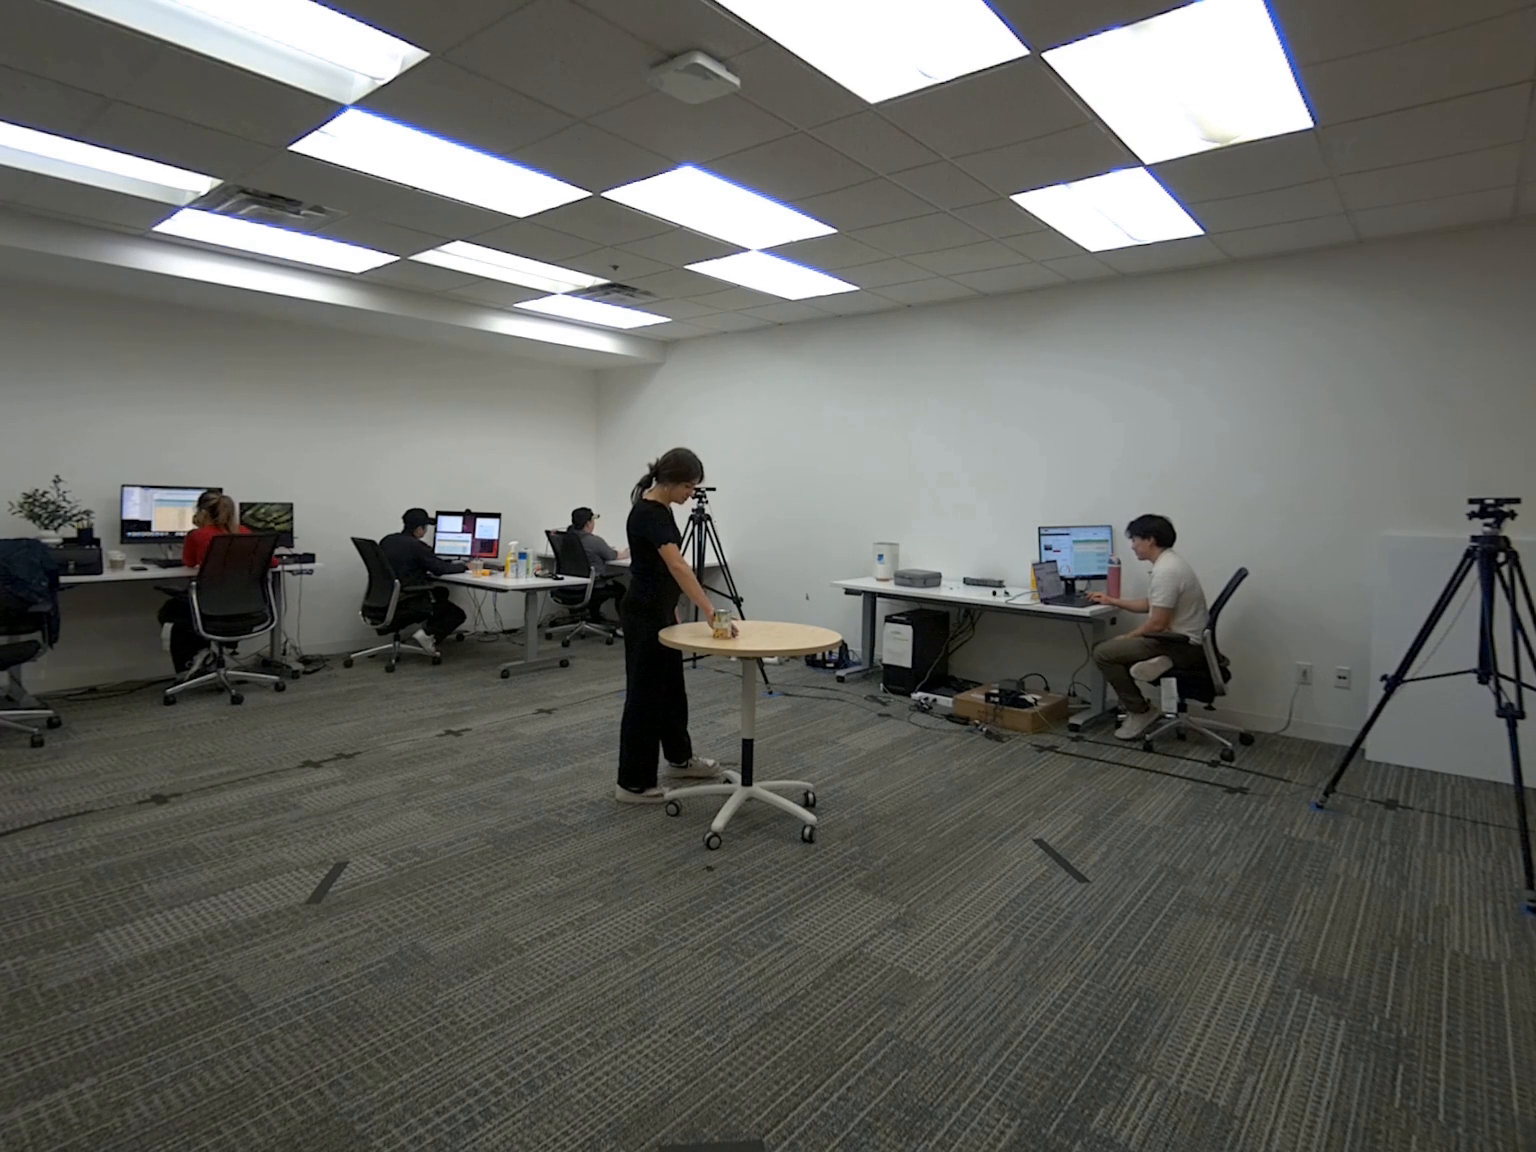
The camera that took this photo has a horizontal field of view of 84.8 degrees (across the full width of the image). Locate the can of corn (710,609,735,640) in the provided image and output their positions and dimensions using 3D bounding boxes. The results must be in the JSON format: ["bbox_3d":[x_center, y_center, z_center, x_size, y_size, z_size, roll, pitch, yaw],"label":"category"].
[{"bbox_3d":[-0.193,0.192,3.444,0.074,0.111,0.074,-1,2,-2],"label":"can of corn"}]
